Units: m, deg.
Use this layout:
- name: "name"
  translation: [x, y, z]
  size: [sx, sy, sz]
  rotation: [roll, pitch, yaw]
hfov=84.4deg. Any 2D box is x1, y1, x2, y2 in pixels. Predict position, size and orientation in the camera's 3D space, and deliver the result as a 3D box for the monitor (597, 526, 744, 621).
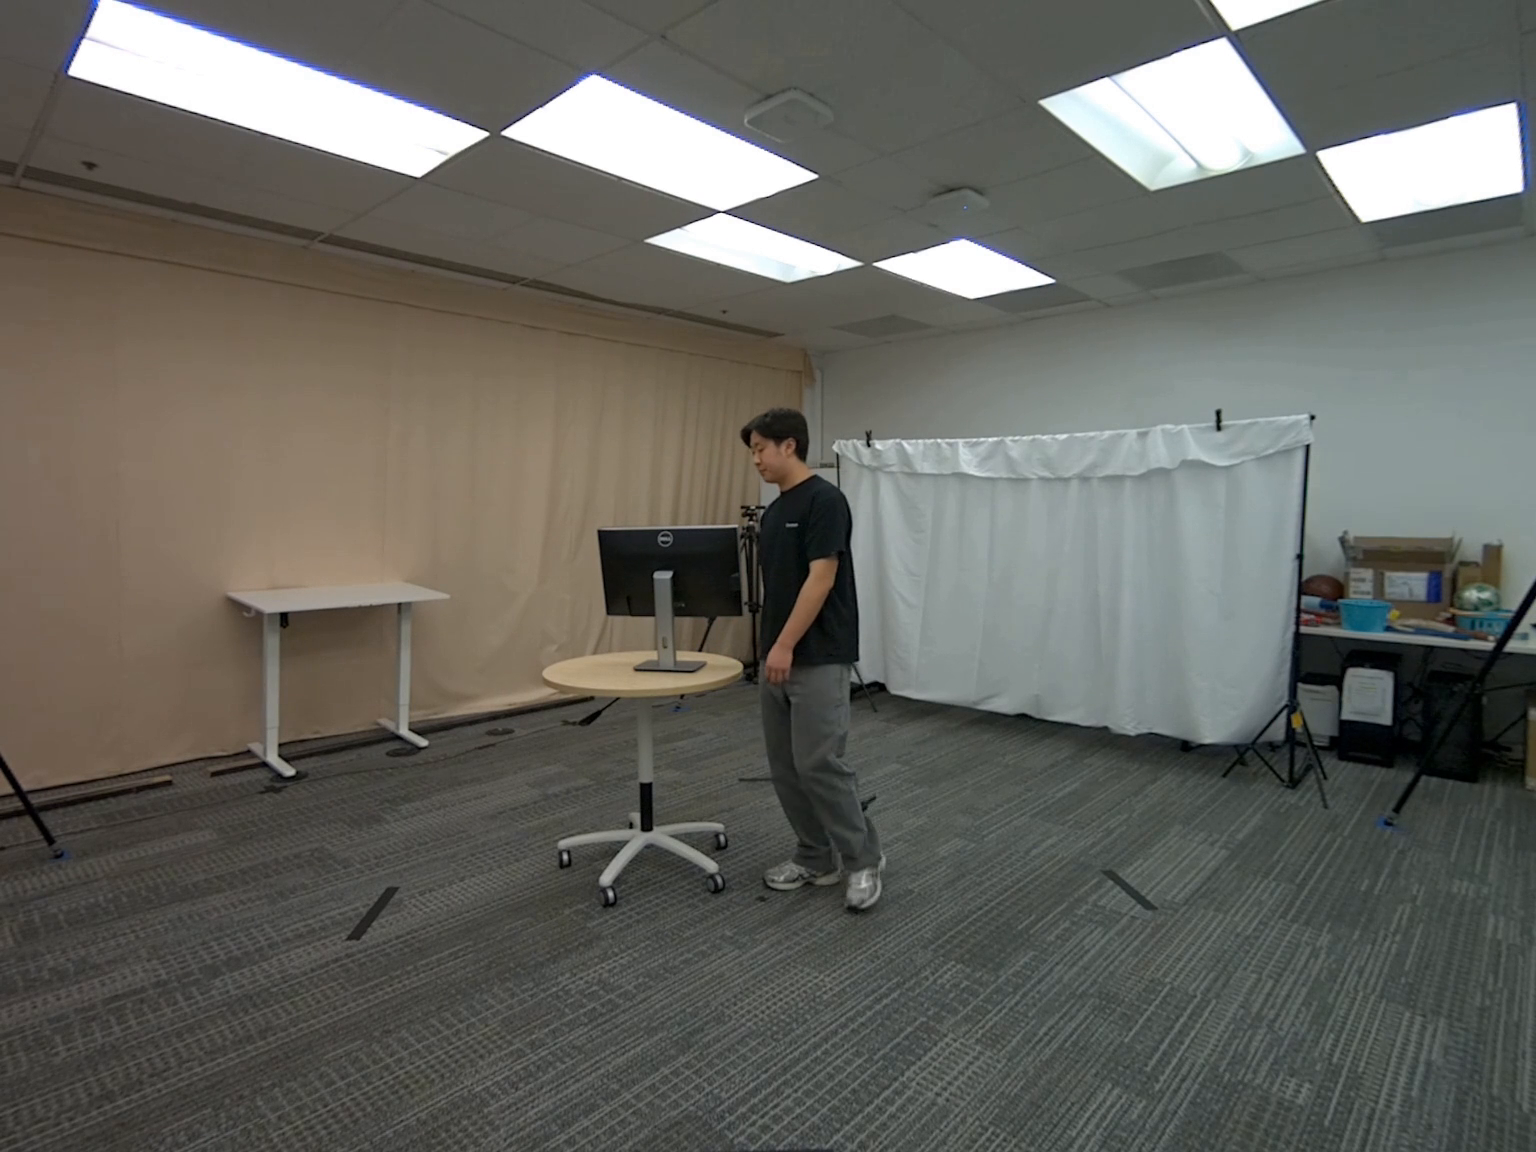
- name: "monitor"
  translation: [-0.378, 0.090, 3.238]
  size: [0.571, 0.565, 0.219]
  rotation: [0, 1, 14]
